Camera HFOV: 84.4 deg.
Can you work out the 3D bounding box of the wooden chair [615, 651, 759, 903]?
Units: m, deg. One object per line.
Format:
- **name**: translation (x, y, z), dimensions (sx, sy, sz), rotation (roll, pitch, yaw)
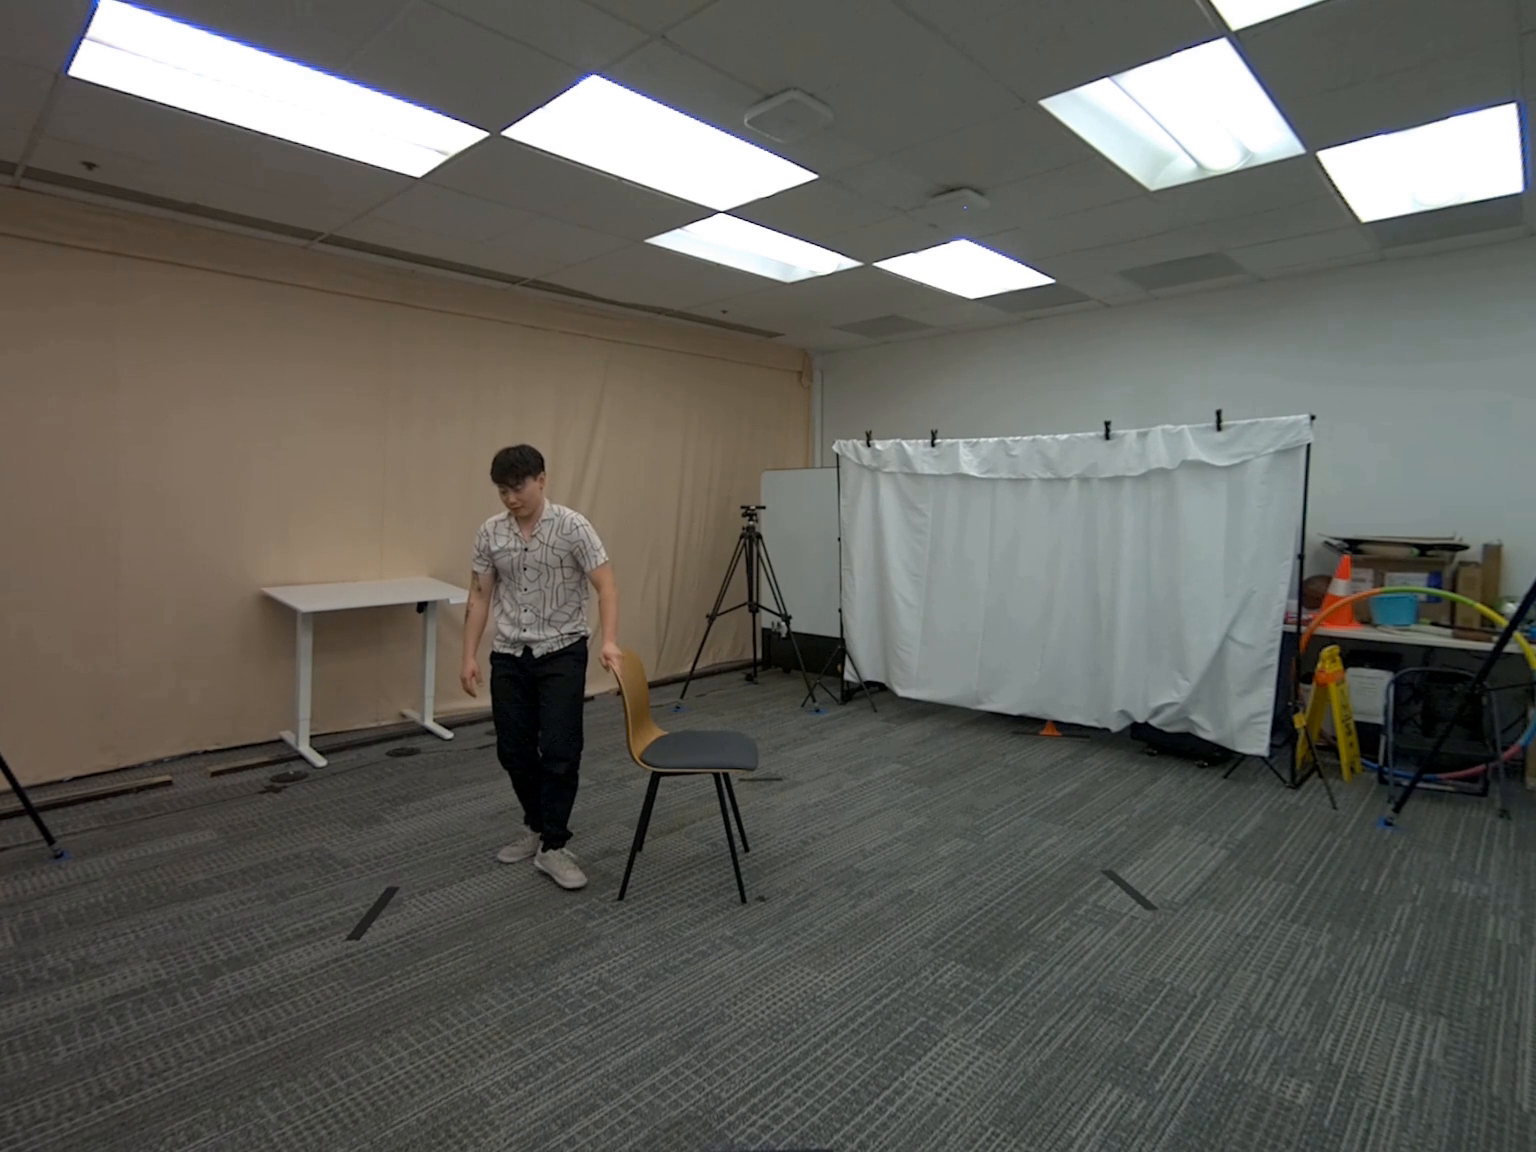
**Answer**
- **wooden chair**: translation (-0.297, 0.704, 3.156), dimensions (0.524, 0.876, 0.478), rotation (-4, 2, 2)
